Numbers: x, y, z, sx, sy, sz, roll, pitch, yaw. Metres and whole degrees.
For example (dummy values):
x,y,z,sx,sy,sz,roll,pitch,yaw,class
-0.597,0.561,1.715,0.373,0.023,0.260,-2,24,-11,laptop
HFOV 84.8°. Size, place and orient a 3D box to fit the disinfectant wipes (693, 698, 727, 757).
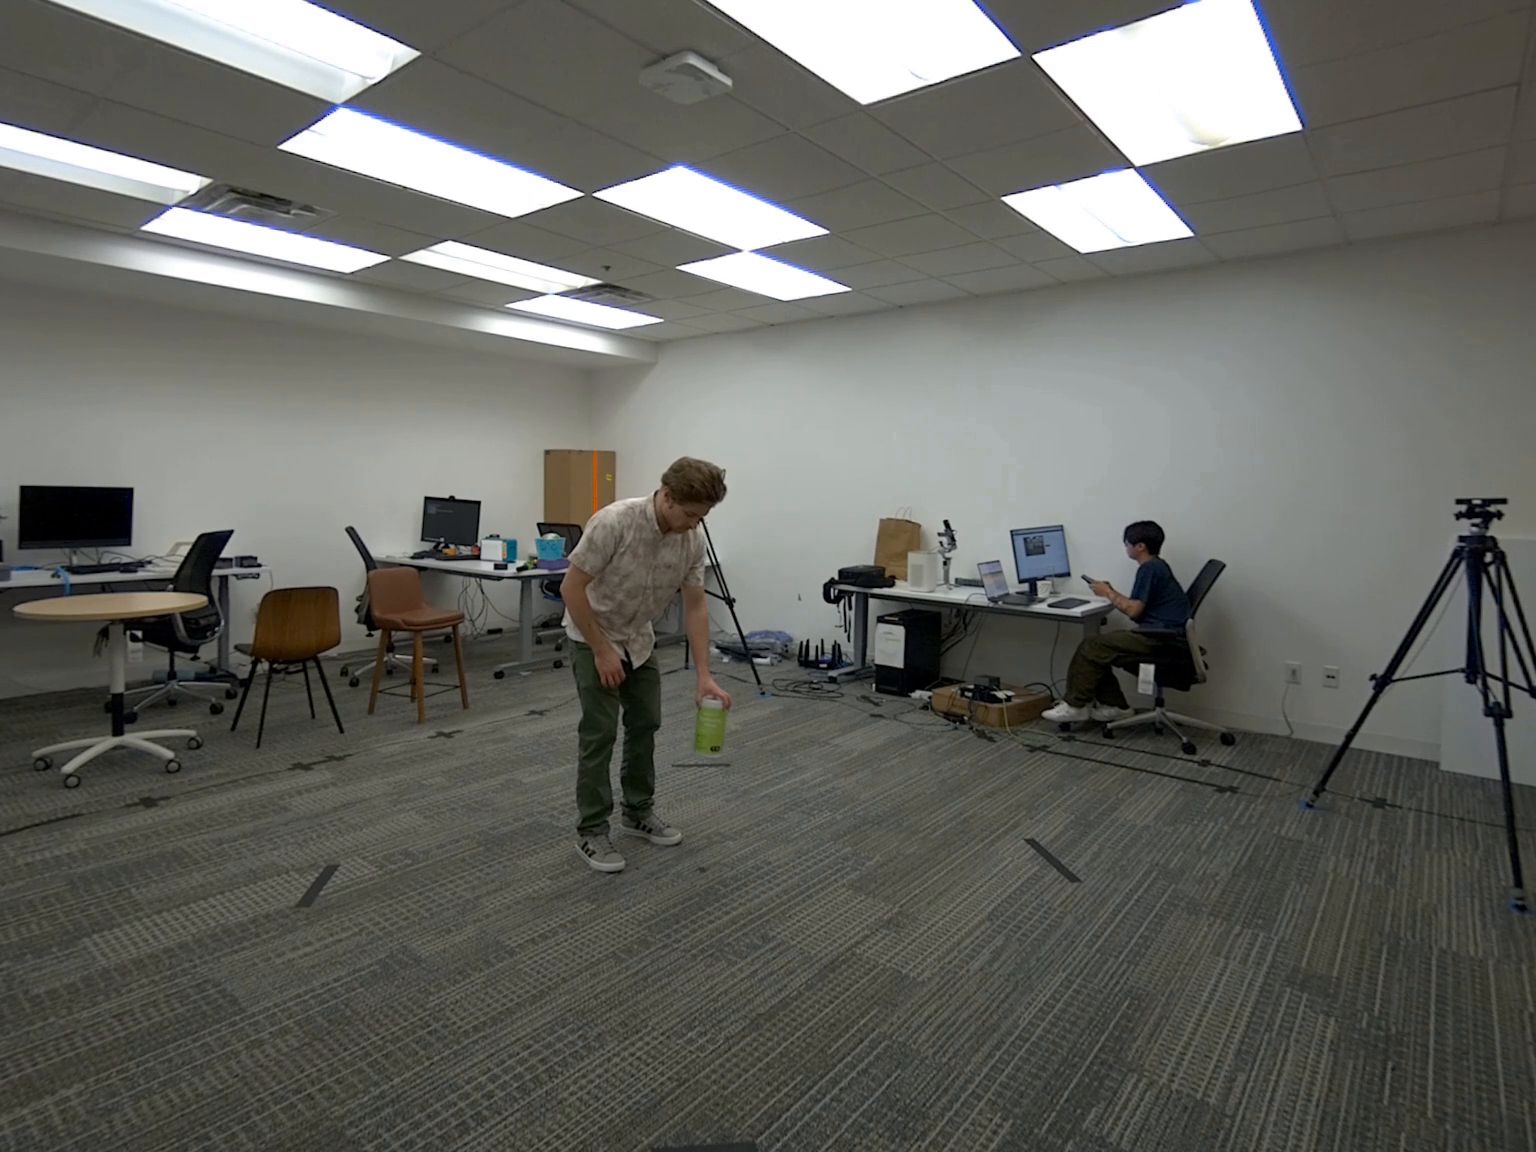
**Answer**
x,y,z,sx,sy,sz,roll,pitch,yaw,class
-0.230,0.568,3.176,0.117,0.217,0.118,7,1,-2,disinfectant wipes
